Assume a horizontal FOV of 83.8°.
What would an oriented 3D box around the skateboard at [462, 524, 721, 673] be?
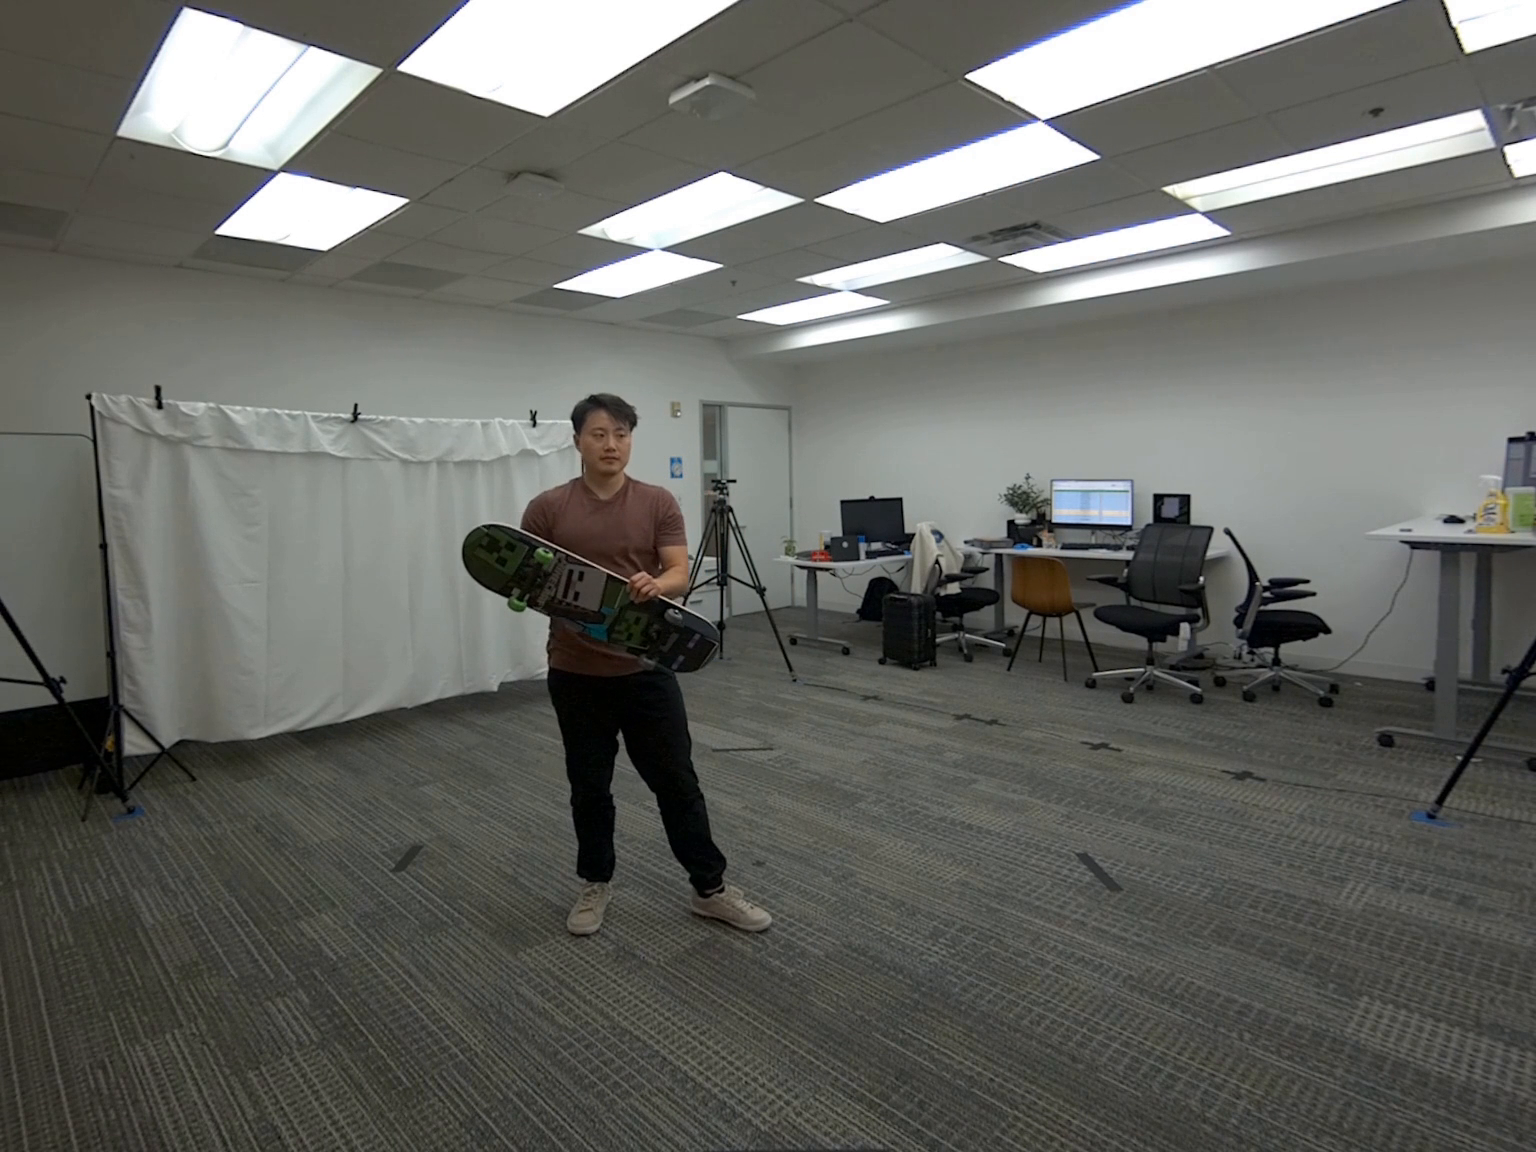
[{"bbox_3d":[-0.476,0.088,2.362,0.768,0.193,0.113,28,11,-18],"label":"skateboard"}]
